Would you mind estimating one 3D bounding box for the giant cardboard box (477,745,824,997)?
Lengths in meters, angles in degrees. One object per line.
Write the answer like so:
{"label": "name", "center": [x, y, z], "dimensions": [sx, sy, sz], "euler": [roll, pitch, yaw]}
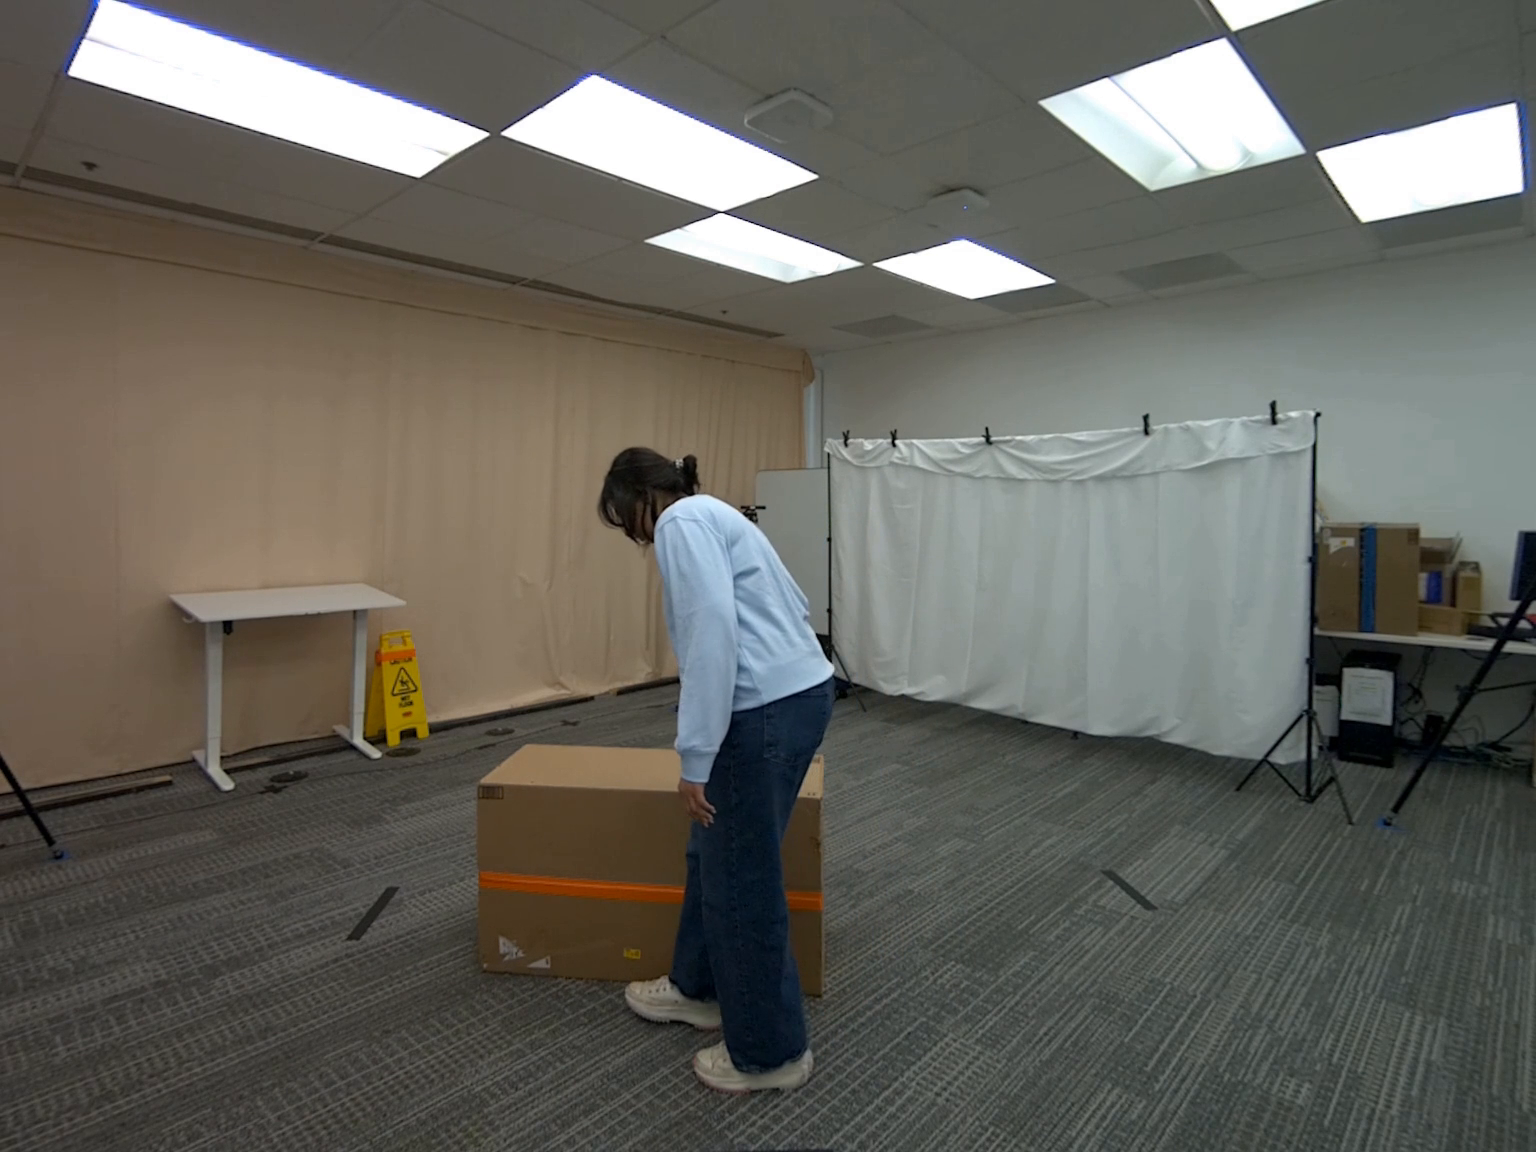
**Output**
{"label": "giant cardboard box", "center": [-0.341, 0.885, 2.644], "dimensions": [1.034, 0.576, 0.424], "euler": [1, 4, 7]}
